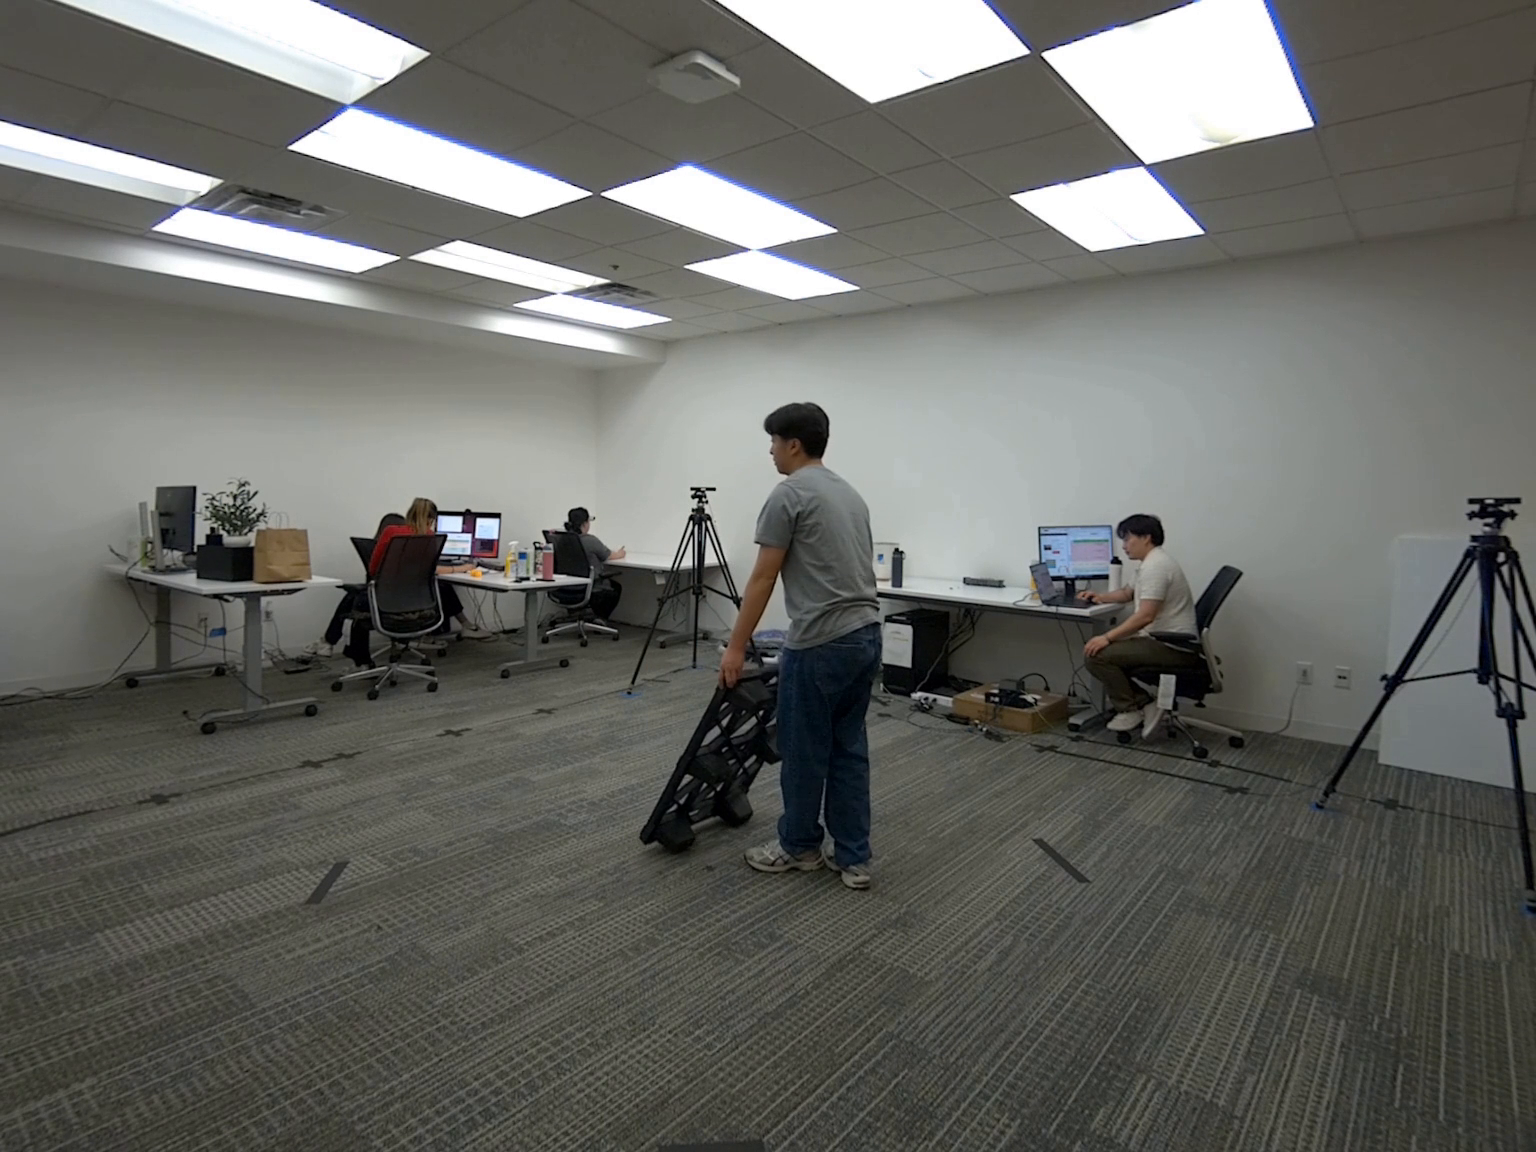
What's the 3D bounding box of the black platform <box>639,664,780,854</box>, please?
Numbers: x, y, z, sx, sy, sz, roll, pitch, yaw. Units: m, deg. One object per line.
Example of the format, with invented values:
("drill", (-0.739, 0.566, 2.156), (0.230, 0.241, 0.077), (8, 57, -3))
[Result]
("black platform", (-0.113, 0.693, 3.300), (0.149, 0.799, 0.587), (38, 23, 30))
